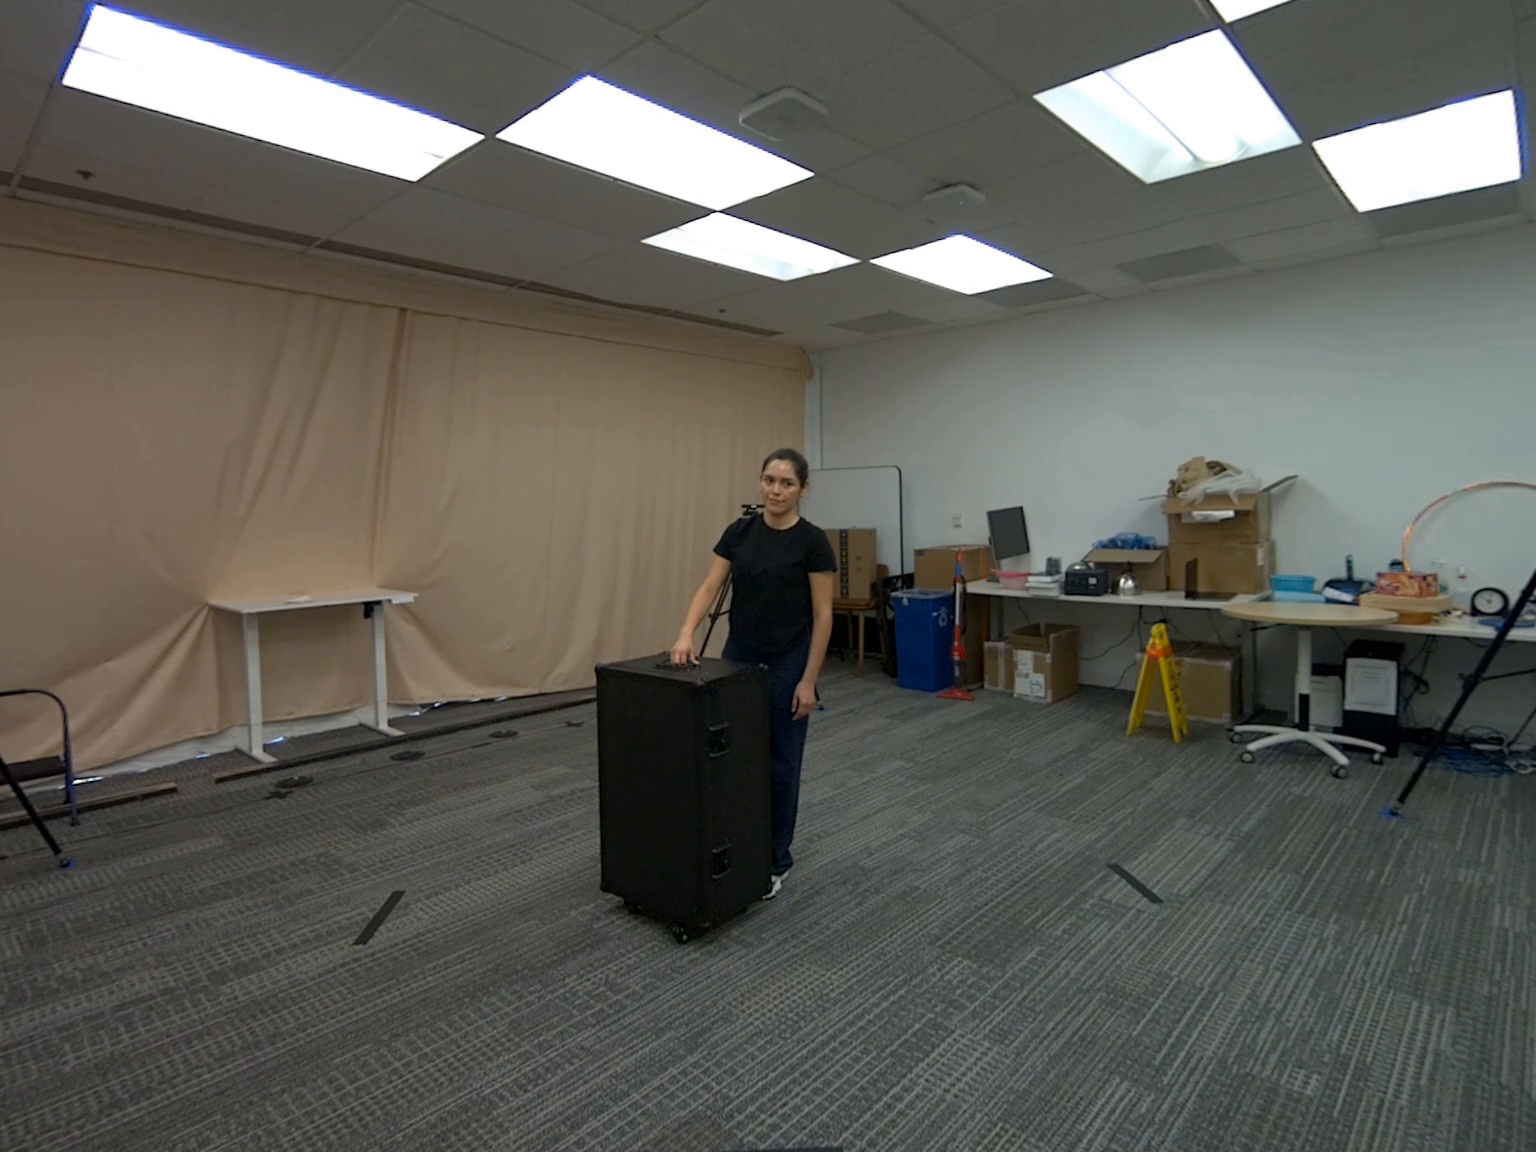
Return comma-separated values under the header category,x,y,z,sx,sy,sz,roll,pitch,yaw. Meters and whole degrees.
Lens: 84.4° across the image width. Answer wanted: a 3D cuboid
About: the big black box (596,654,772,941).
category,x,y,z,sx,sy,sz,roll,pitch,yaw
big black box,-0.277,0.730,2.867,0.538,0.860,0.384,2,4,38
